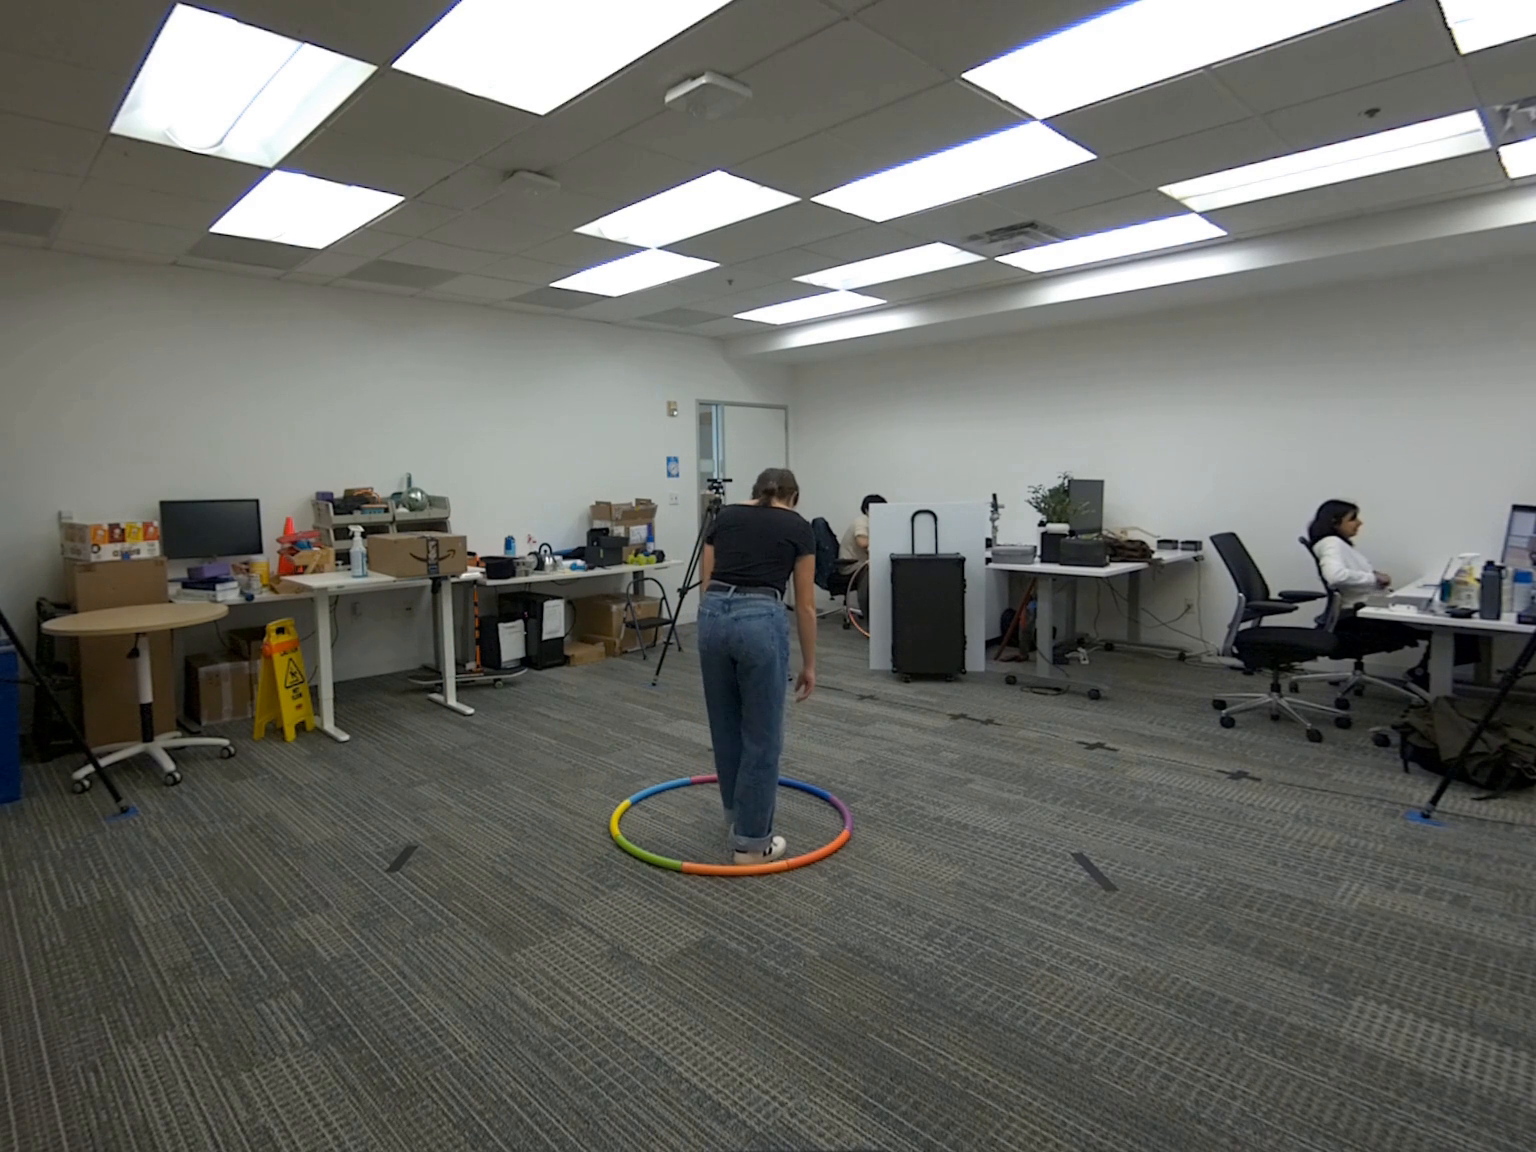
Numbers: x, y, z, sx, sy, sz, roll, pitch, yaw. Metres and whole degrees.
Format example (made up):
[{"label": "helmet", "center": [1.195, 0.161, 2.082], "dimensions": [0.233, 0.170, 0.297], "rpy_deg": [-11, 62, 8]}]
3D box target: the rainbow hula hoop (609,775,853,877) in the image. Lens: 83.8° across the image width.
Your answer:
[{"label": "rainbow hula hoop", "center": [-0.155, 0.973, 3.487], "dimensions": [0.978, 0.035, 0.984], "rpy_deg": [-1, 6, -2]}]
